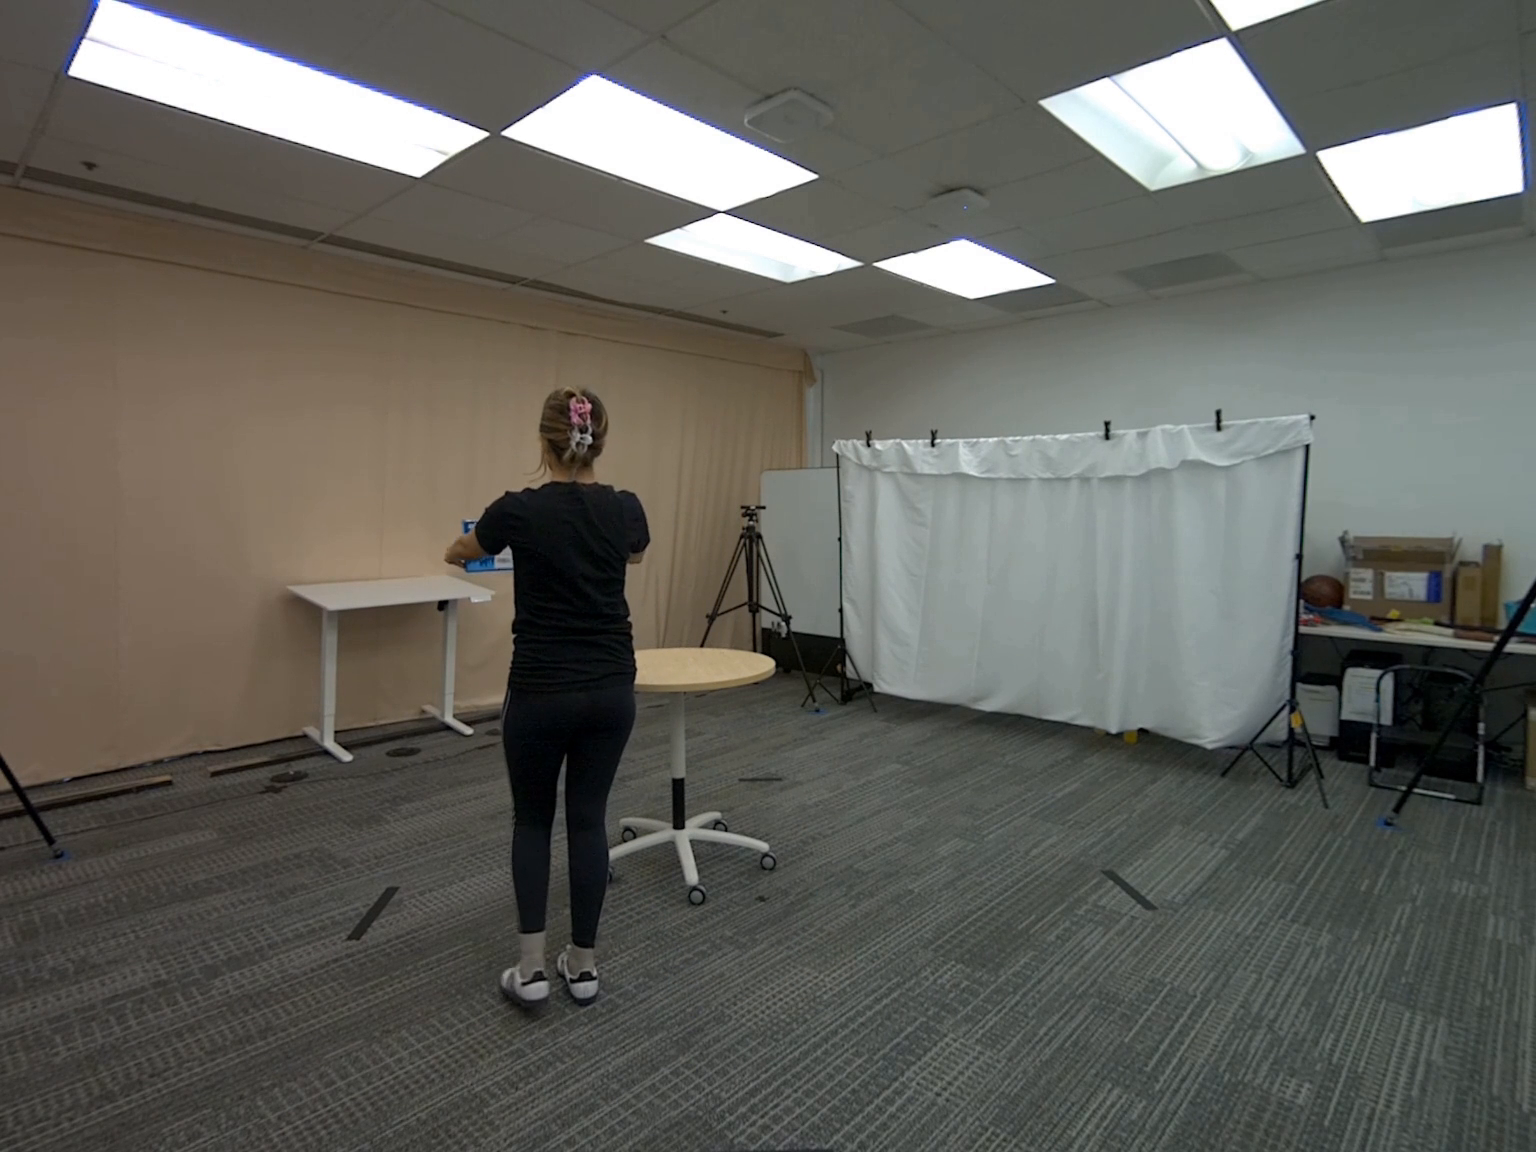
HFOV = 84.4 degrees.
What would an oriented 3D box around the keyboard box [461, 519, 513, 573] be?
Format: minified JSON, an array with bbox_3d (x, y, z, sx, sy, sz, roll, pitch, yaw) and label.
[{"bbox_3d":[-0.823,-0.111,2.881,0.427,0.175,0.061,-4,7,-24],"label":"keyboard box"}]
